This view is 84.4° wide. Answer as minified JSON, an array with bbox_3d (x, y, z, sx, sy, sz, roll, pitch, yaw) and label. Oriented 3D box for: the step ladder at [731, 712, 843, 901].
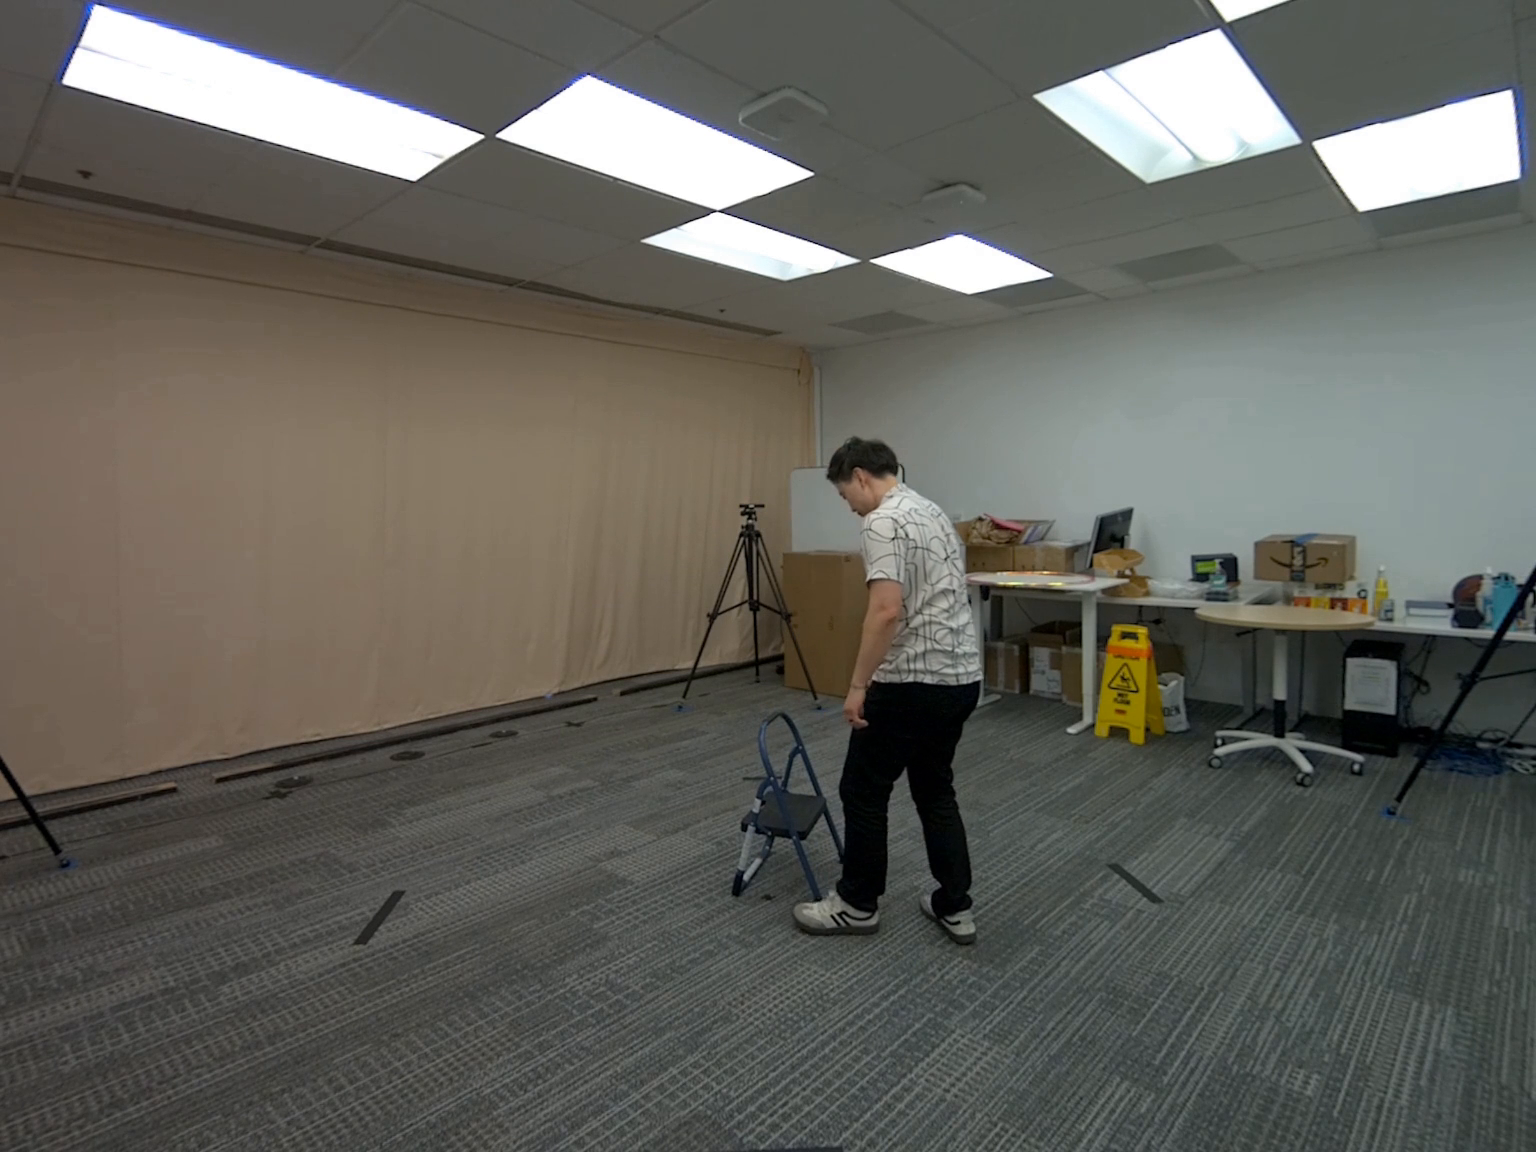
[{"bbox_3d":[0.091,0.823,3.114,0.356,0.605,0.423,1,4,18],"label":"step ladder"}]
